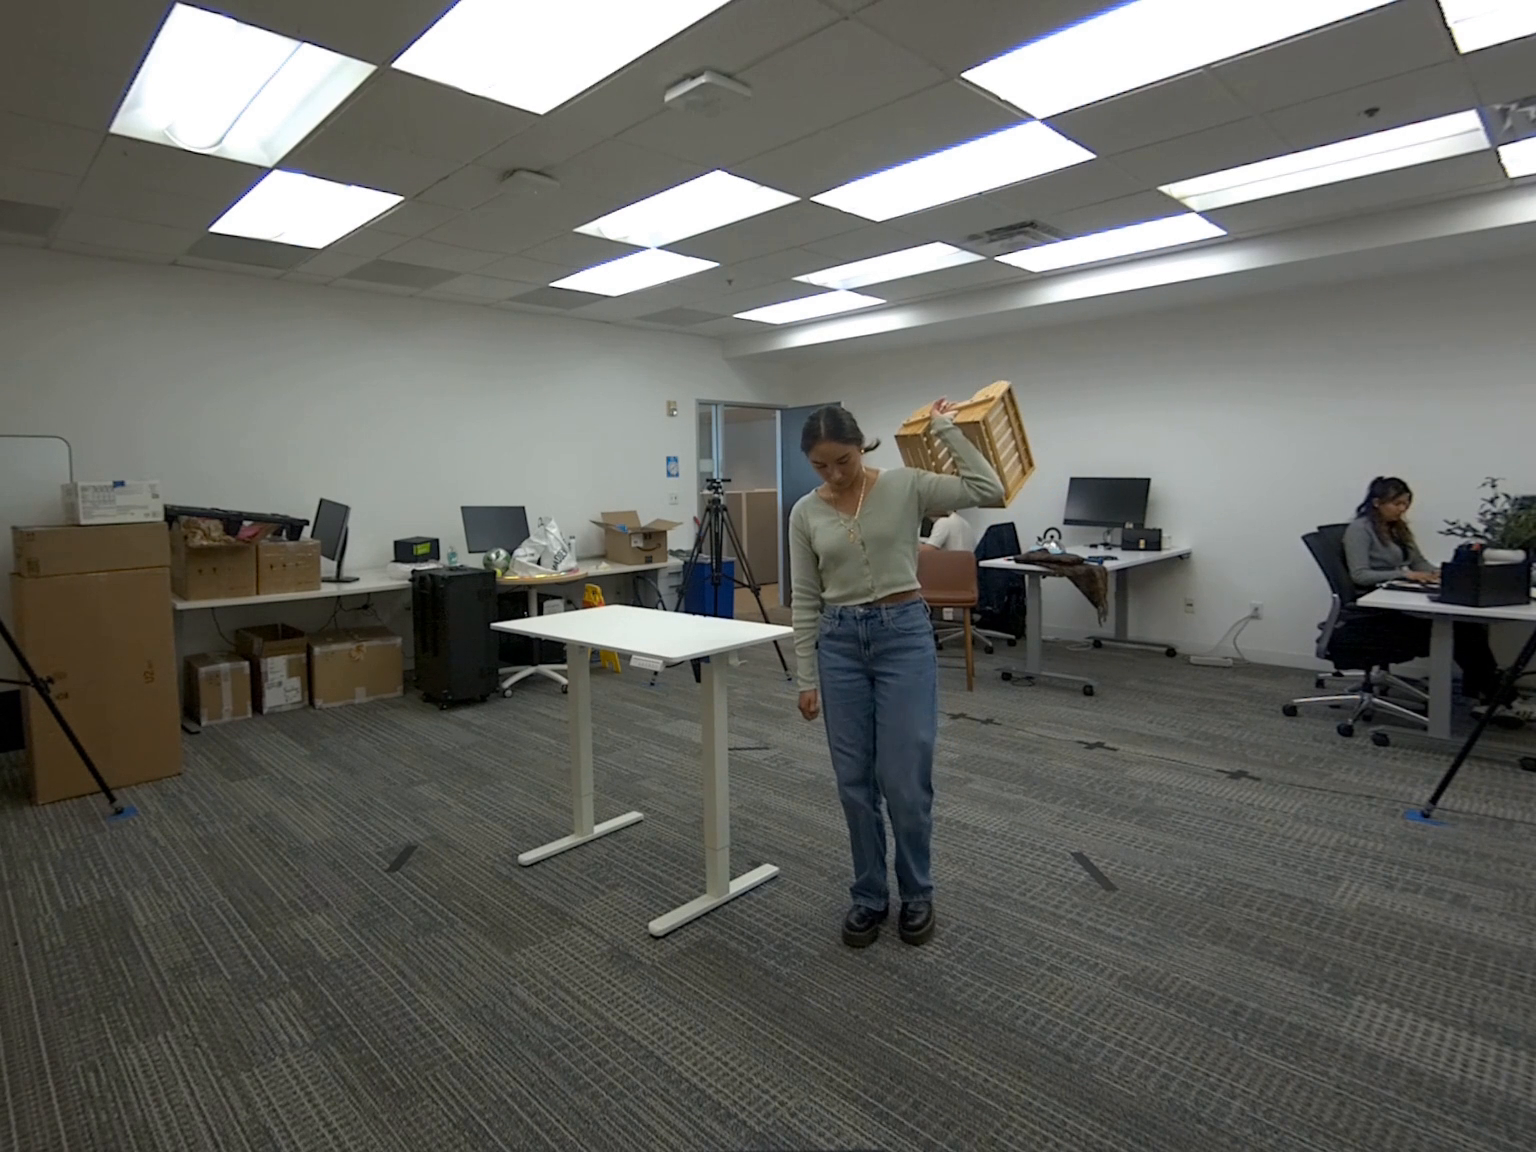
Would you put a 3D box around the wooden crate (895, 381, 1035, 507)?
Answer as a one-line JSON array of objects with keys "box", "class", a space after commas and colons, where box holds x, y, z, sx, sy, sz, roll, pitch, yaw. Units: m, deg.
[{"box": [0.613, -0.389, 2.640, 0.281, 0.315, 0.301, 2, 36, 44], "class": "wooden crate"}]
